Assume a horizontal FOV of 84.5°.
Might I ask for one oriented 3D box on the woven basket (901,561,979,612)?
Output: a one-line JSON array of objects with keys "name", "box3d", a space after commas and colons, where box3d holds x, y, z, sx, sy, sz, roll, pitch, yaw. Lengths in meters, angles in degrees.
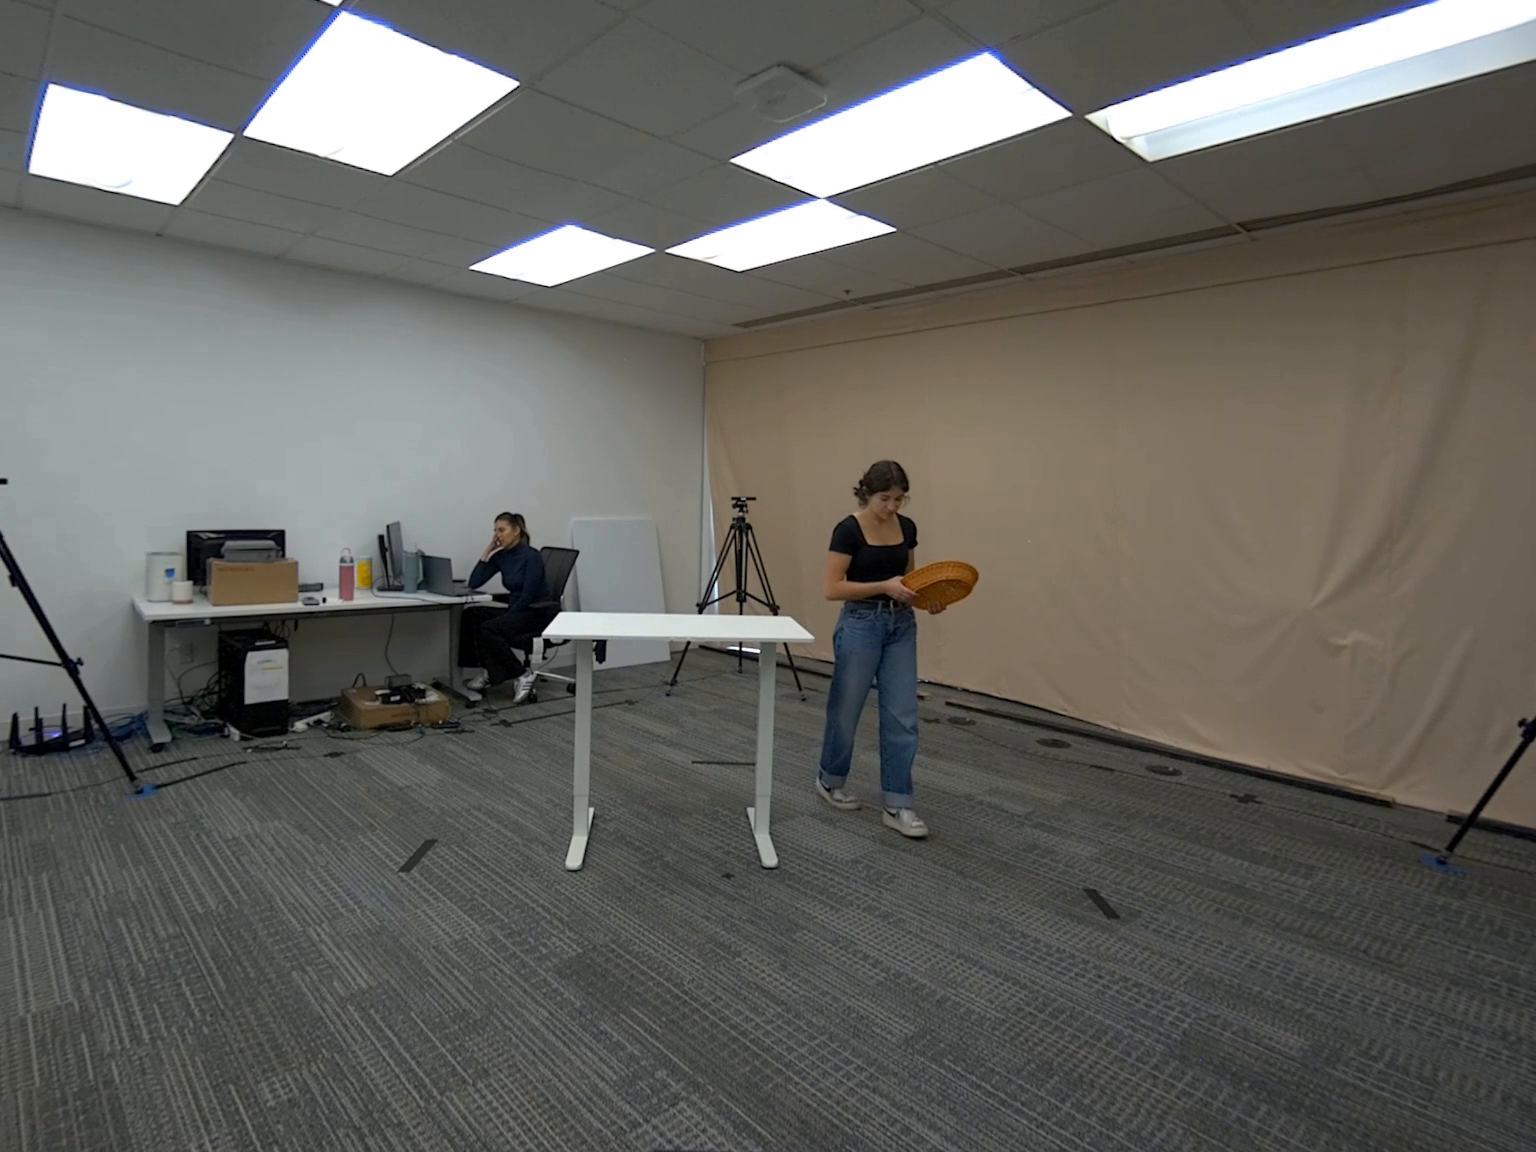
[{"name": "woven basket", "box3d": [0.693, 0.053, 3.489, 0.246, 0.075, 0.352, 27, -39, -25]}]
